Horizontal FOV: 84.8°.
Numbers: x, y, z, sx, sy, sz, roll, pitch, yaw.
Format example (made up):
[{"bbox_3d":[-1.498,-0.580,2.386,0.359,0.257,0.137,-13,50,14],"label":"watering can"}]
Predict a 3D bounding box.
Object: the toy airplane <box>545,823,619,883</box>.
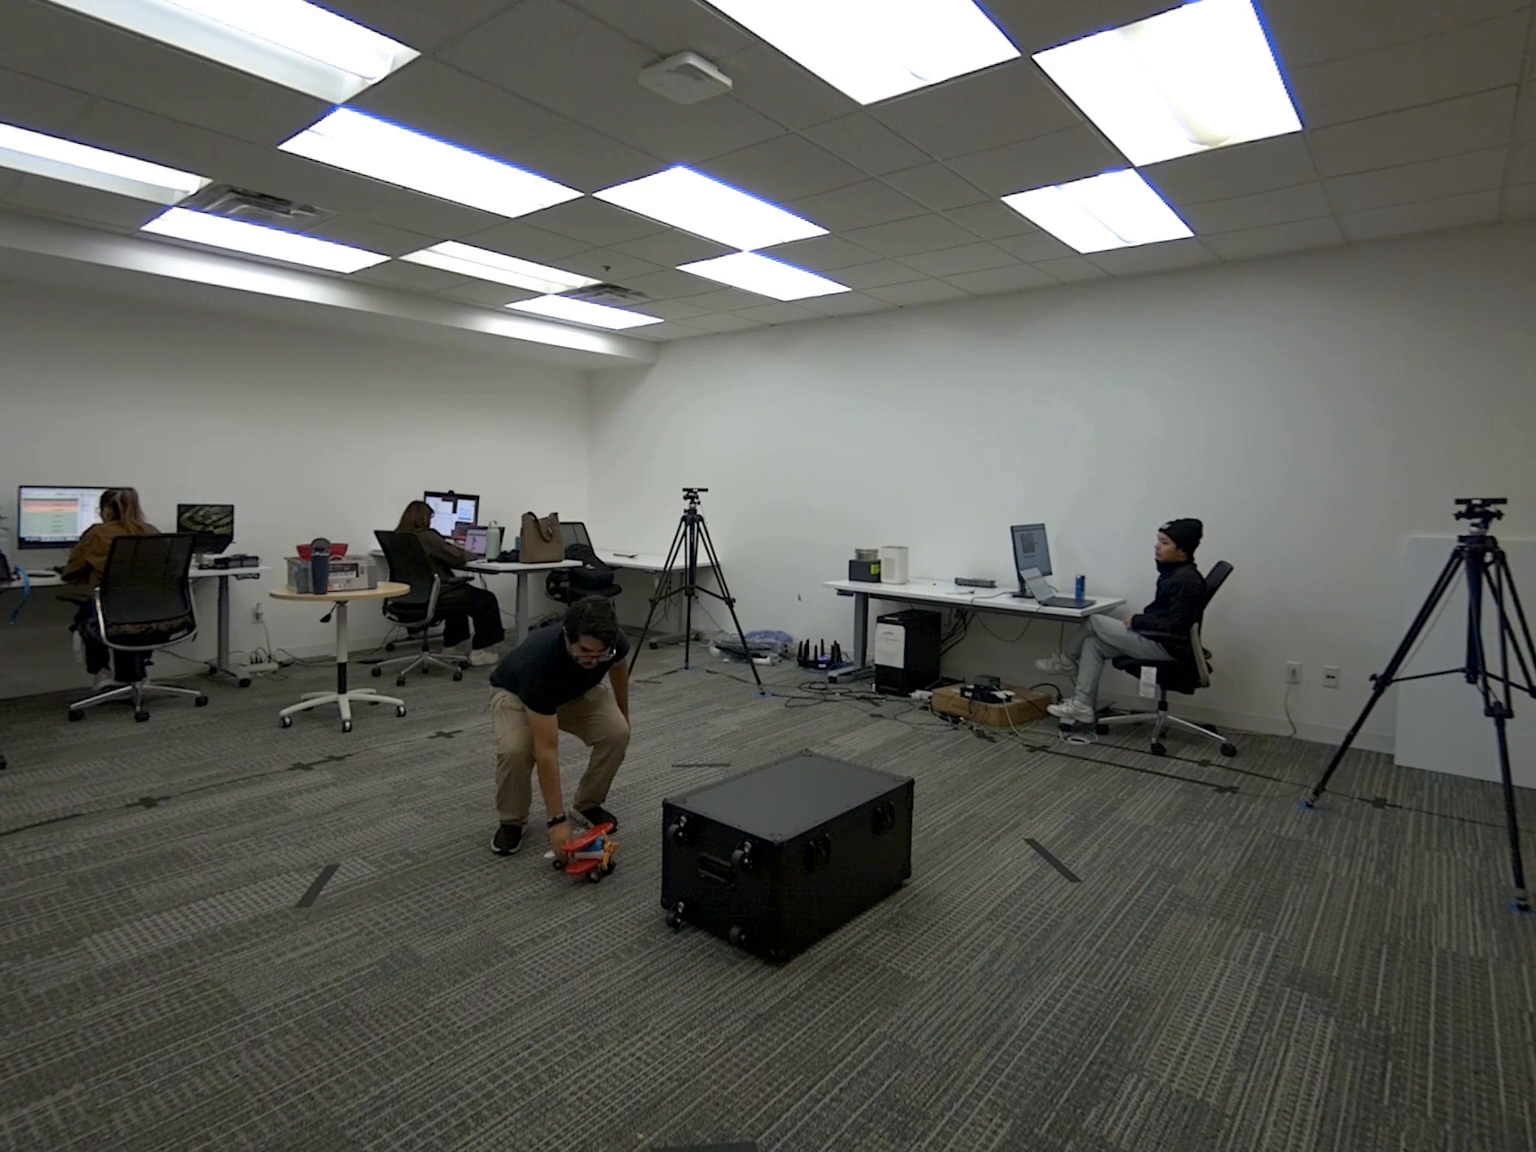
[{"bbox_3d":[-0.685,0.997,3.046,0.258,0.156,0.253,2,5,-5],"label":"toy airplane"}]
